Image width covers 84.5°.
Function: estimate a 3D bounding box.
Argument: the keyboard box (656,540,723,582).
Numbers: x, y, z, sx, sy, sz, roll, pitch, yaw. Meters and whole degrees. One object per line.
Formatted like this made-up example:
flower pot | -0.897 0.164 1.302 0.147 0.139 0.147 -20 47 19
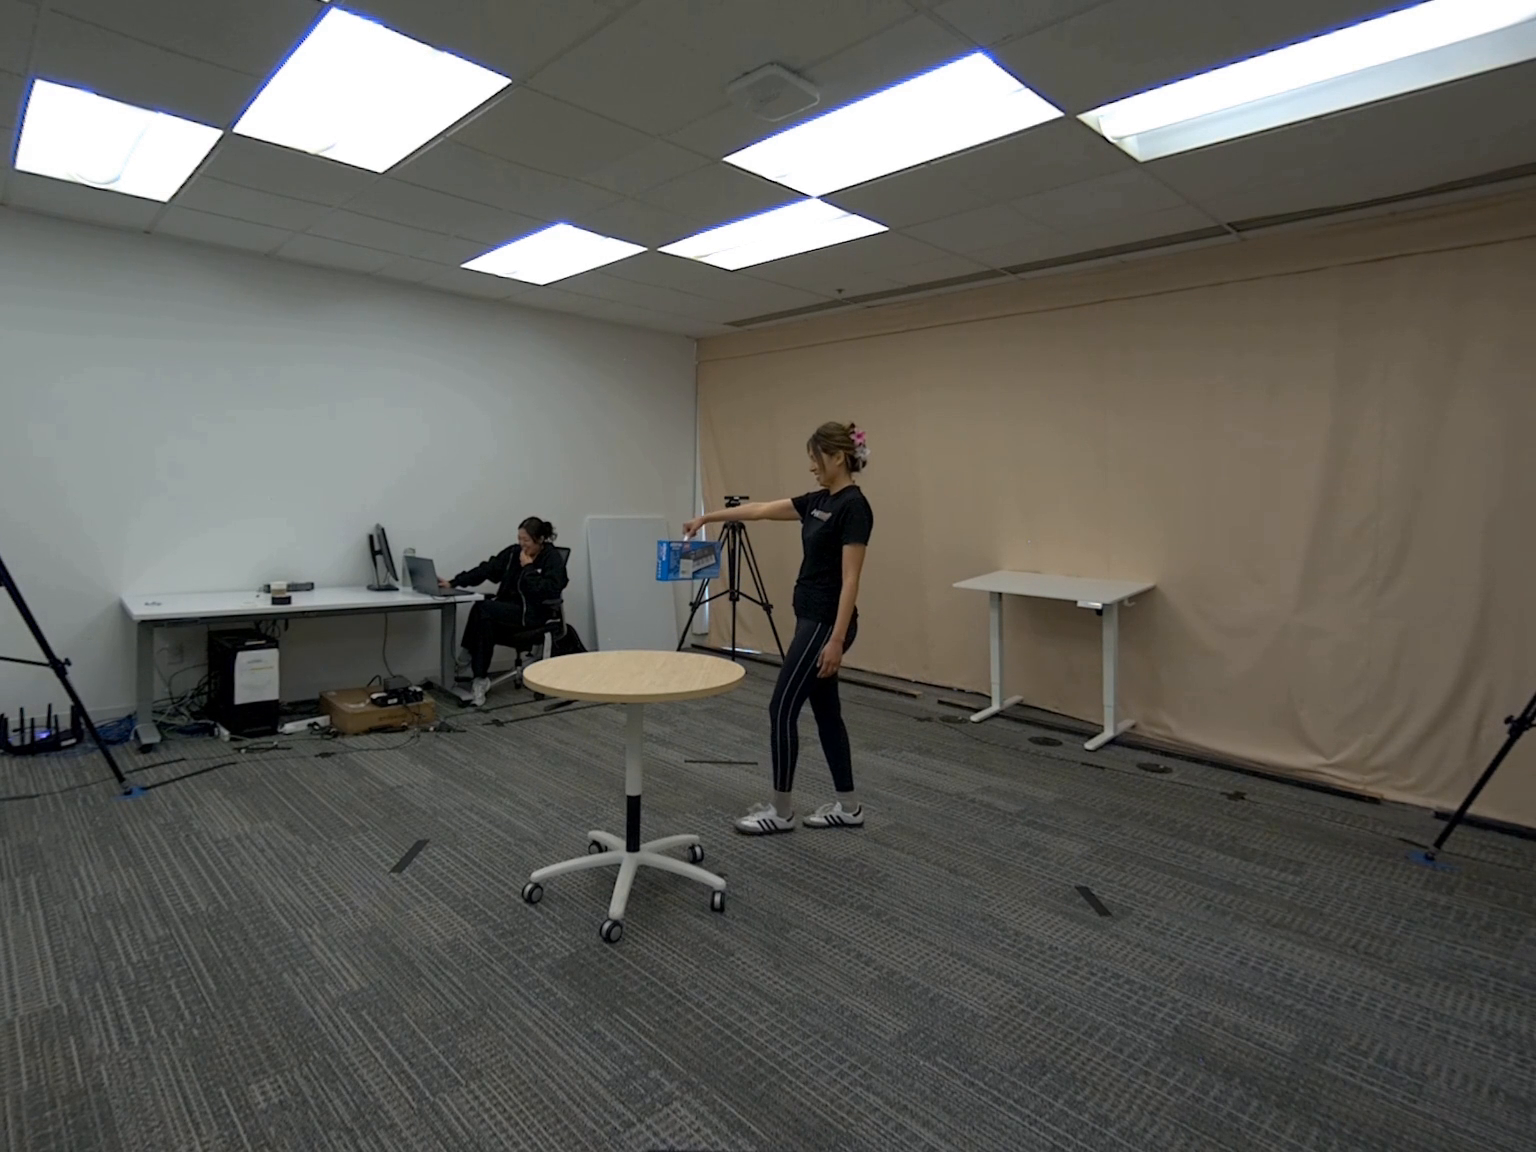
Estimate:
keyboard box | -0.354 -0.070 3.750 0.060 0.176 0.428 3 3 27
